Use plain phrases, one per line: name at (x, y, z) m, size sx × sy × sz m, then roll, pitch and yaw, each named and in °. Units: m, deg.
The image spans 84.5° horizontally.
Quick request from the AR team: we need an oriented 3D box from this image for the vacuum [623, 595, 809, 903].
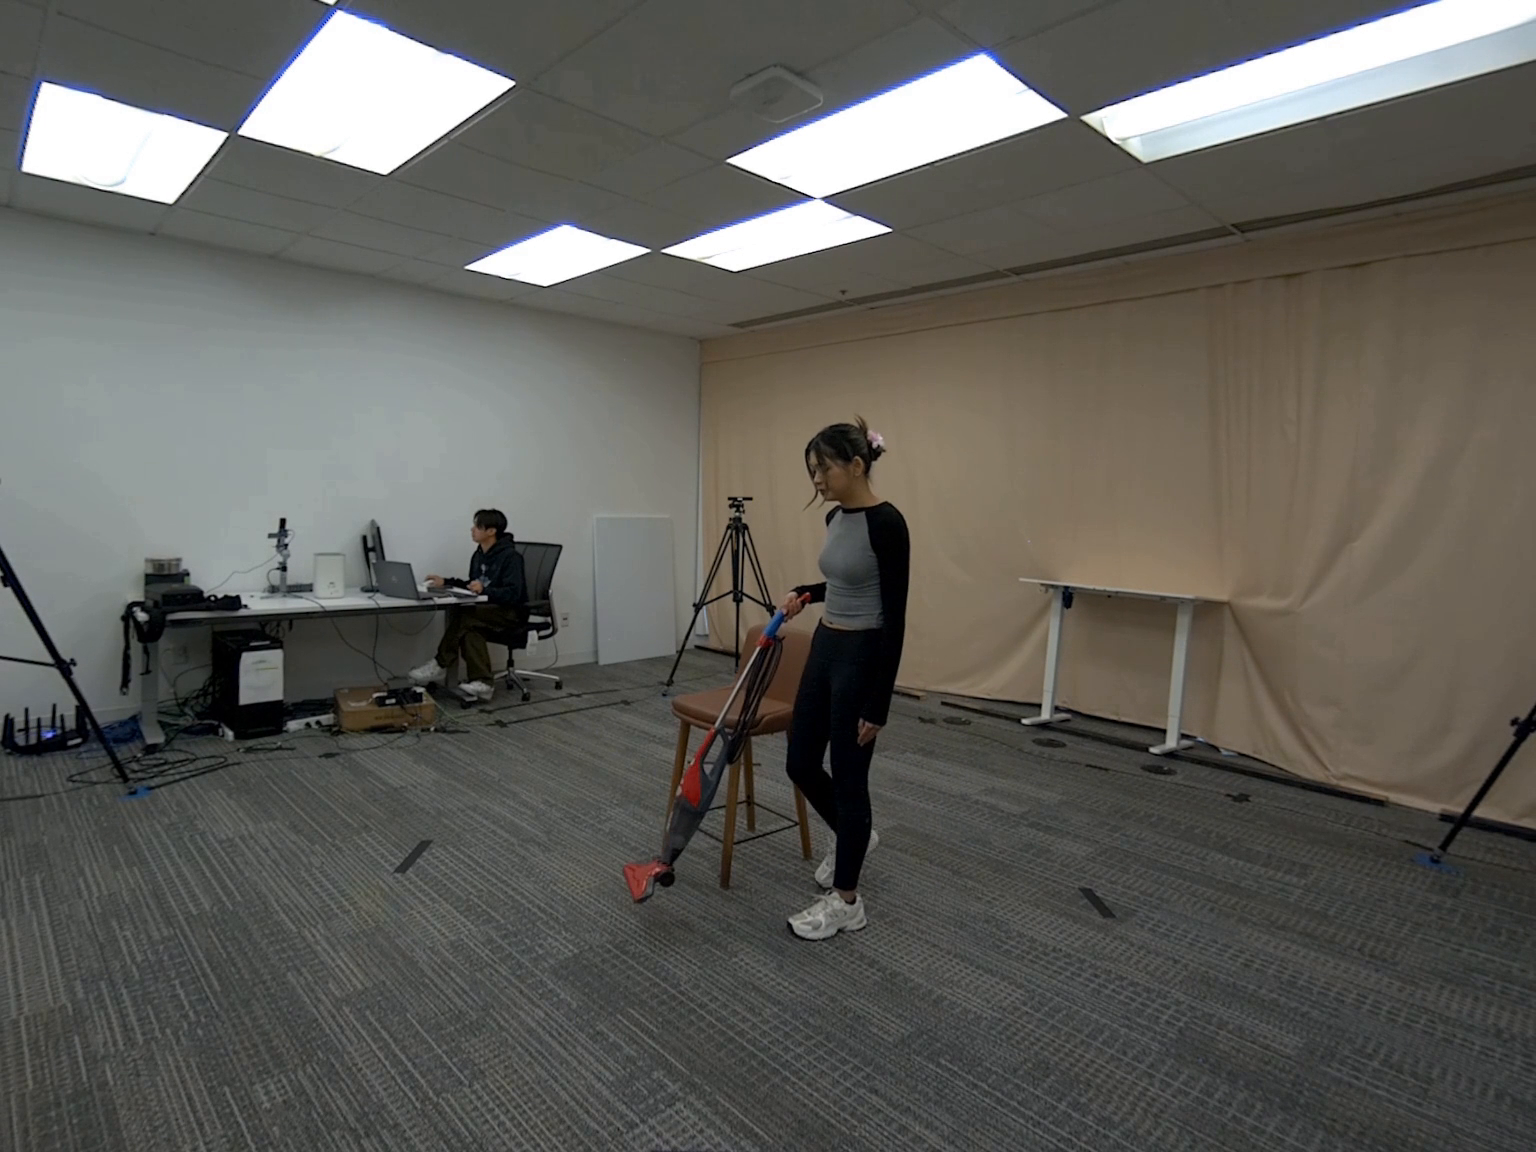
vacuum at (-0.144, 0.525, 2.761) m, size 0.141 × 1.052 × 0.257 m, roll 31°, pitch -9°, yaw -21°
